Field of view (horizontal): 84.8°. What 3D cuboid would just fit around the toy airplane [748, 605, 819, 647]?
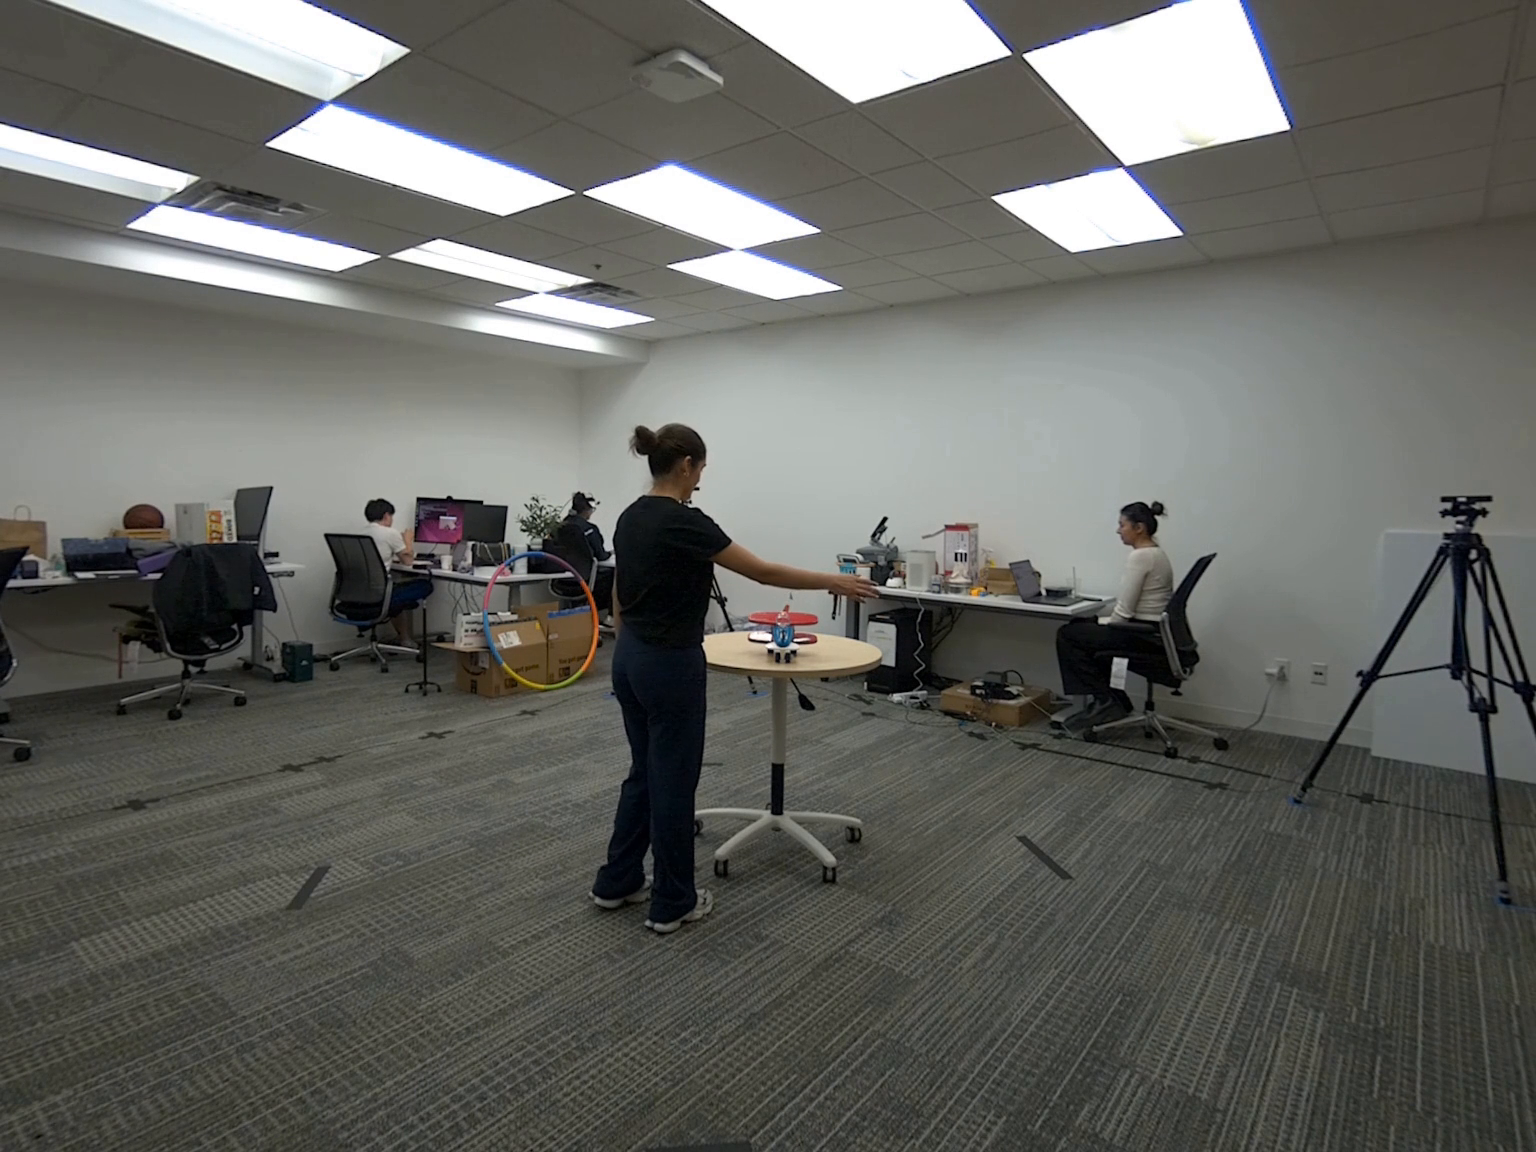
[{"bbox_3d":[0.093,0.212,3.108,0.245,0.155,0.267,-4,7,-29],"label":"toy airplane"}]
